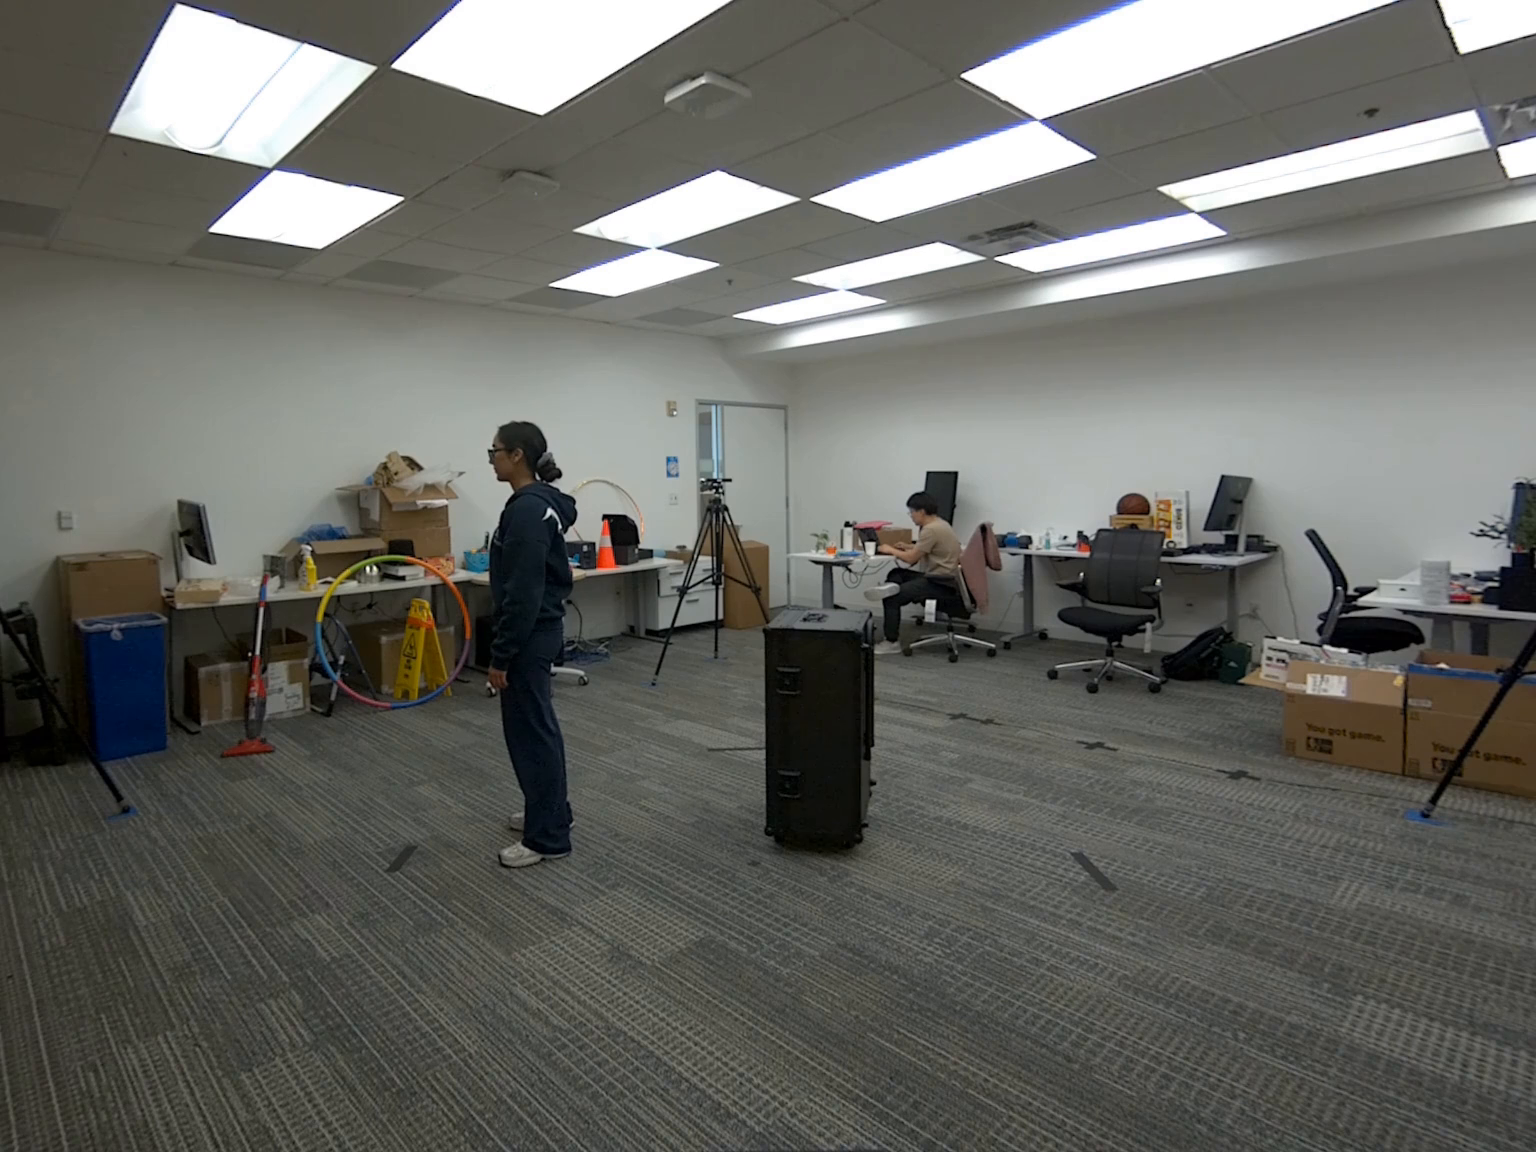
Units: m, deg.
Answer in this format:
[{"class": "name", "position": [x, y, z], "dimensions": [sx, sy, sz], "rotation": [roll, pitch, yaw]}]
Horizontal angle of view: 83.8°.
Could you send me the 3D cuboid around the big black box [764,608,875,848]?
[{"class": "big black box", "position": [0.219, 0.582, 3.341], "dimensions": [0.402, 0.858, 0.516], "rotation": [1, 5, 13]}]
